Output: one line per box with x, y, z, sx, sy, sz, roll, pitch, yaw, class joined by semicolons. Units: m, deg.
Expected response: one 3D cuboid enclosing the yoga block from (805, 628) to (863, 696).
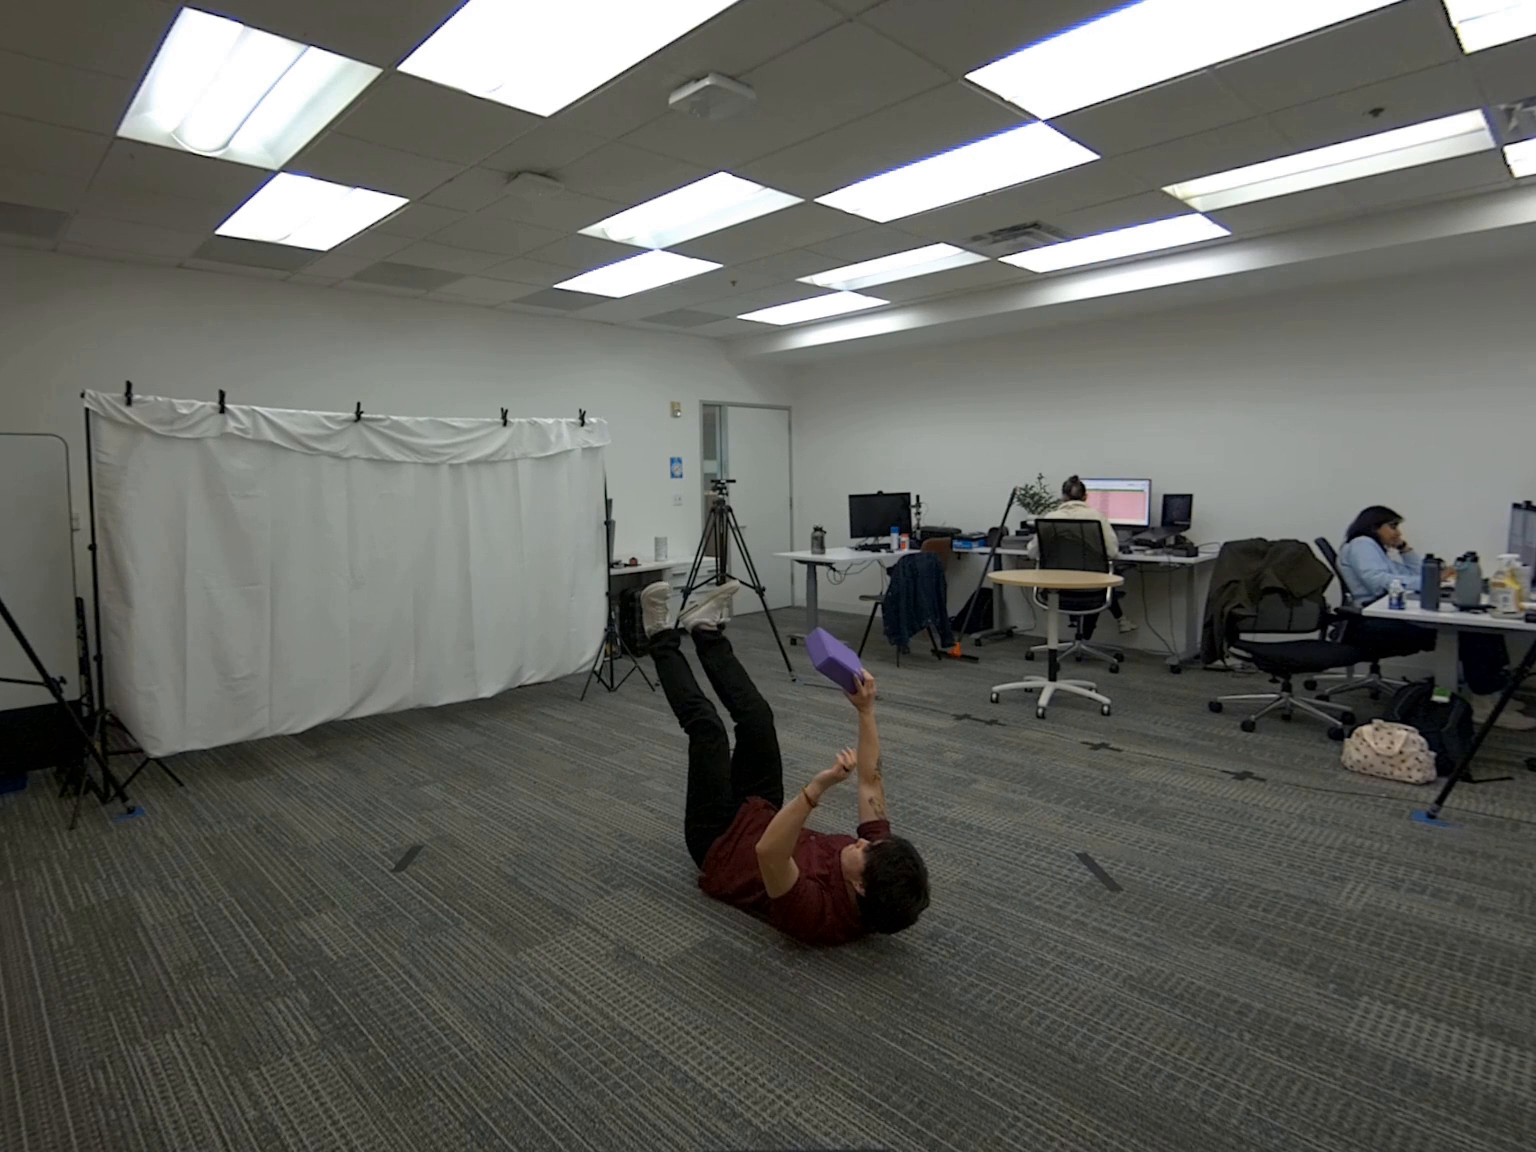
0.231;0.285;2.885;0.221;0.076;0.154;36;20;-37;yoga block
